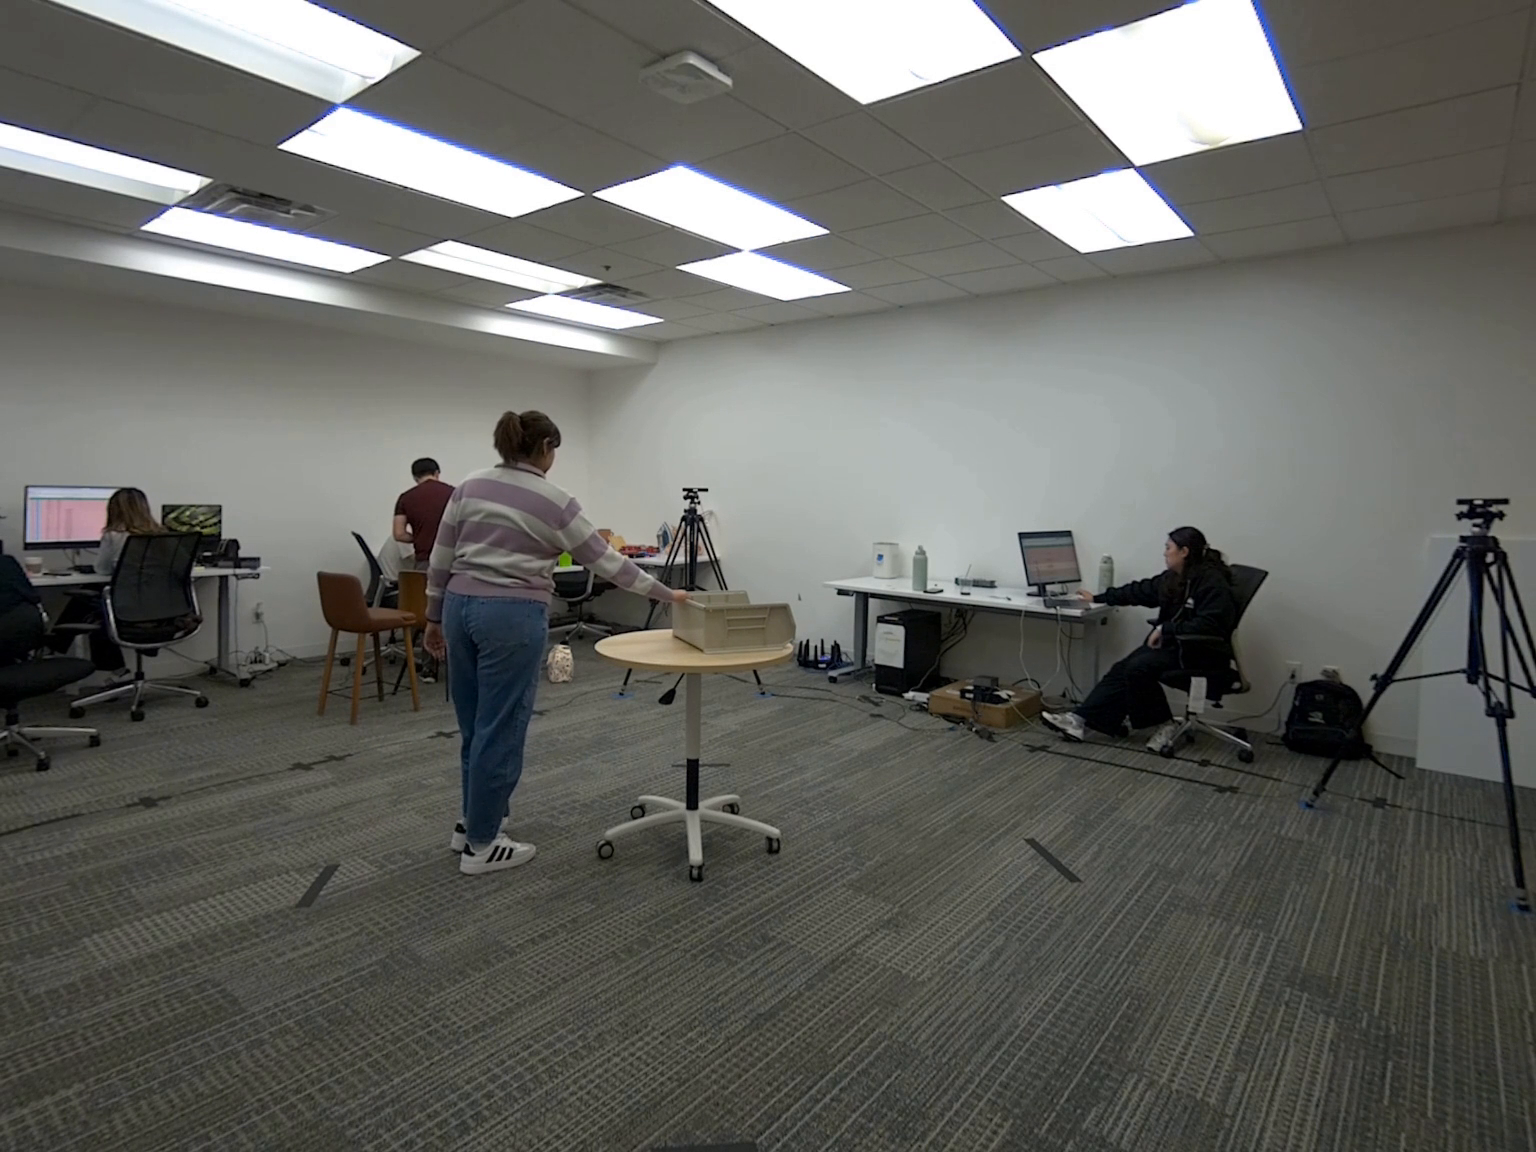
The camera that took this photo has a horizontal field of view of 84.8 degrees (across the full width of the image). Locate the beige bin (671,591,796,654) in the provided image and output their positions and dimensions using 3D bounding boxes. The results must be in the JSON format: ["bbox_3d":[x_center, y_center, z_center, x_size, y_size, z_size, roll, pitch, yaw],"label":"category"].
[{"bbox_3d":[-0.160,0.176,3.355,0.369,0.188,0.434,-2,7,-23],"label":"beige bin"}]
